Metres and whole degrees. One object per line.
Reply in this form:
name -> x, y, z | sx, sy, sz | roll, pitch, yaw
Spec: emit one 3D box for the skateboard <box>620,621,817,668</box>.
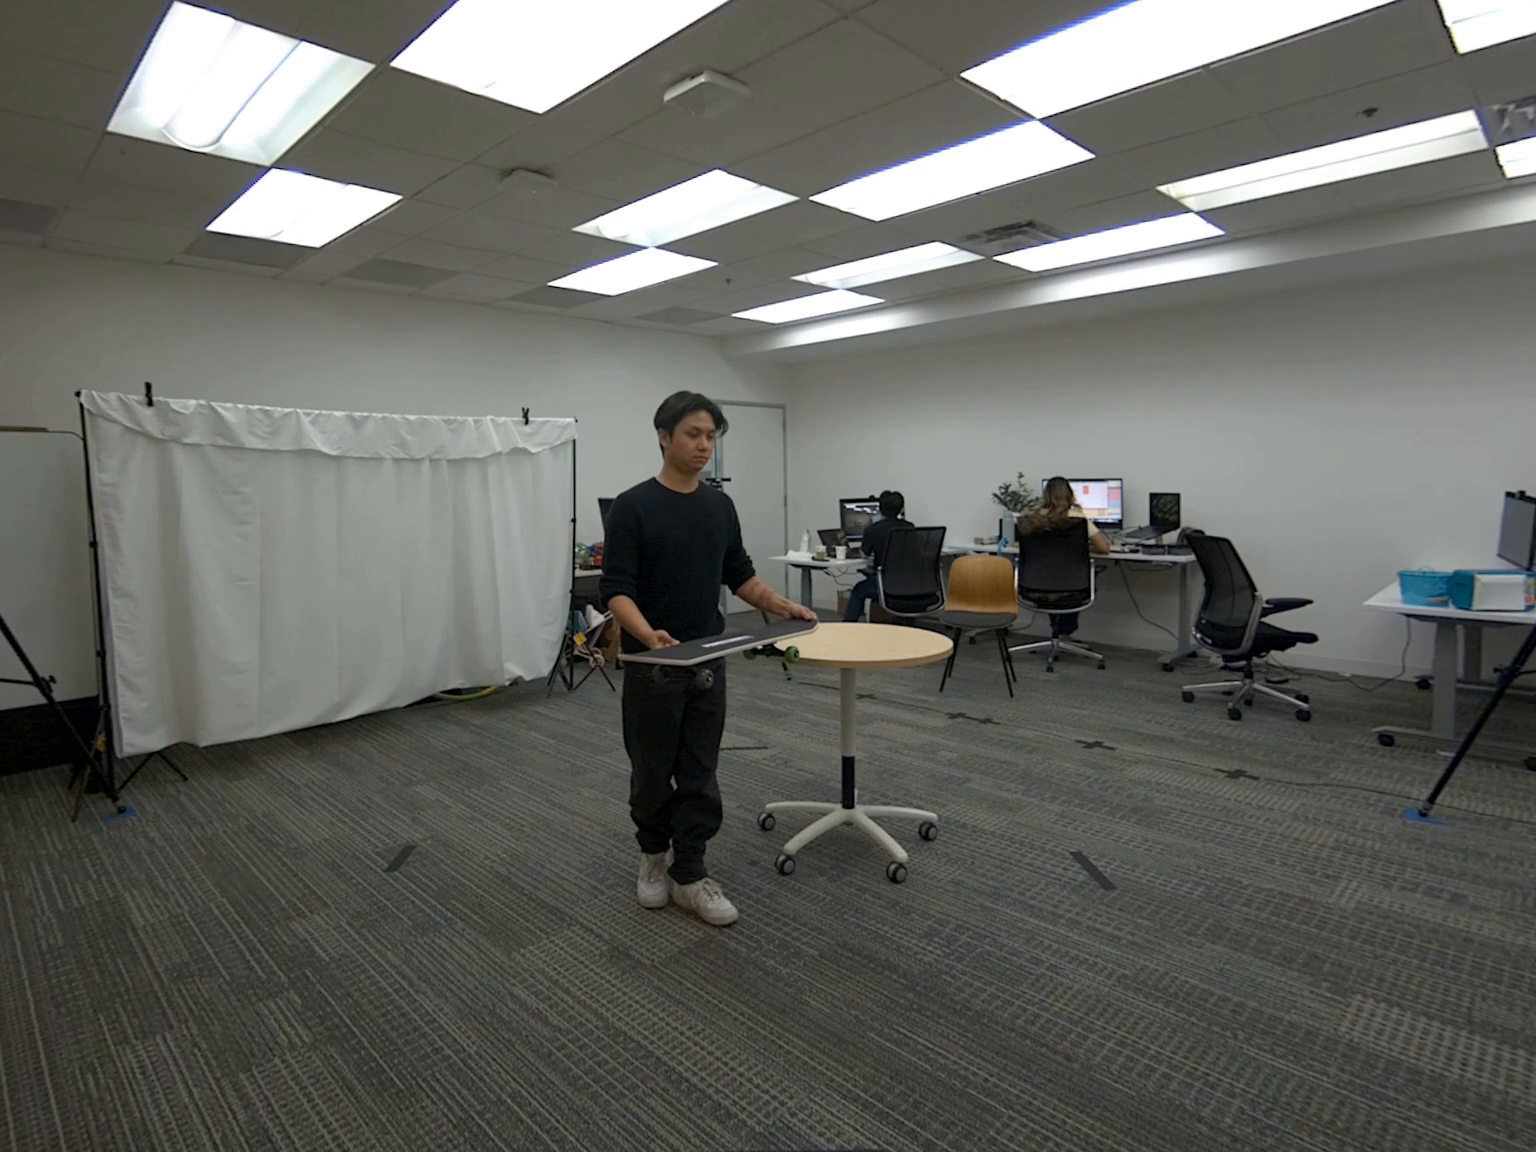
skateboard -> -0.113, 0.222, 2.421 | 0.199, 0.110, 0.765 | -1, 4, 36
